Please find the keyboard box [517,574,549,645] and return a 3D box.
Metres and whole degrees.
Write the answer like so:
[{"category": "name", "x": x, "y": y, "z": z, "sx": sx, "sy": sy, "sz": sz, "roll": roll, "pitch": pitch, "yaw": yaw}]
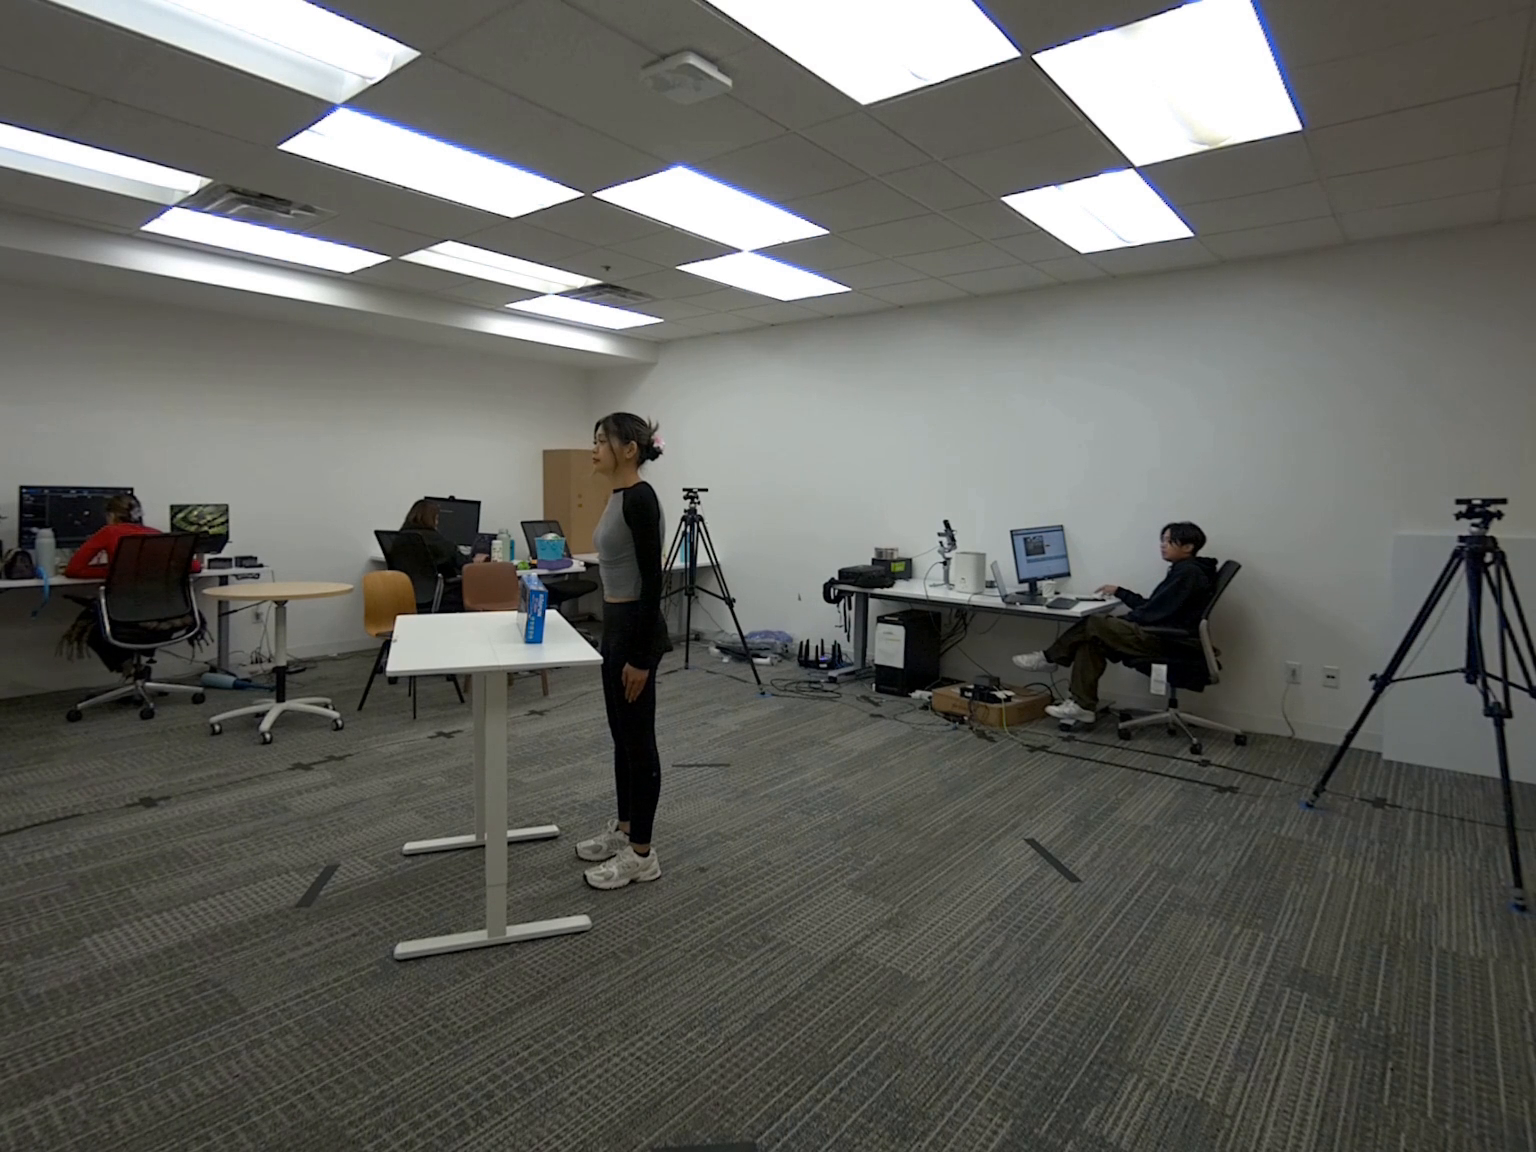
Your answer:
[{"category": "keyboard box", "x": -0.825, "y": 0.104, "z": 2.941, "sx": 0.058, "sy": 0.175, "sz": 0.447, "roll": 5, "pitch": 5, "yaw": -20}]
